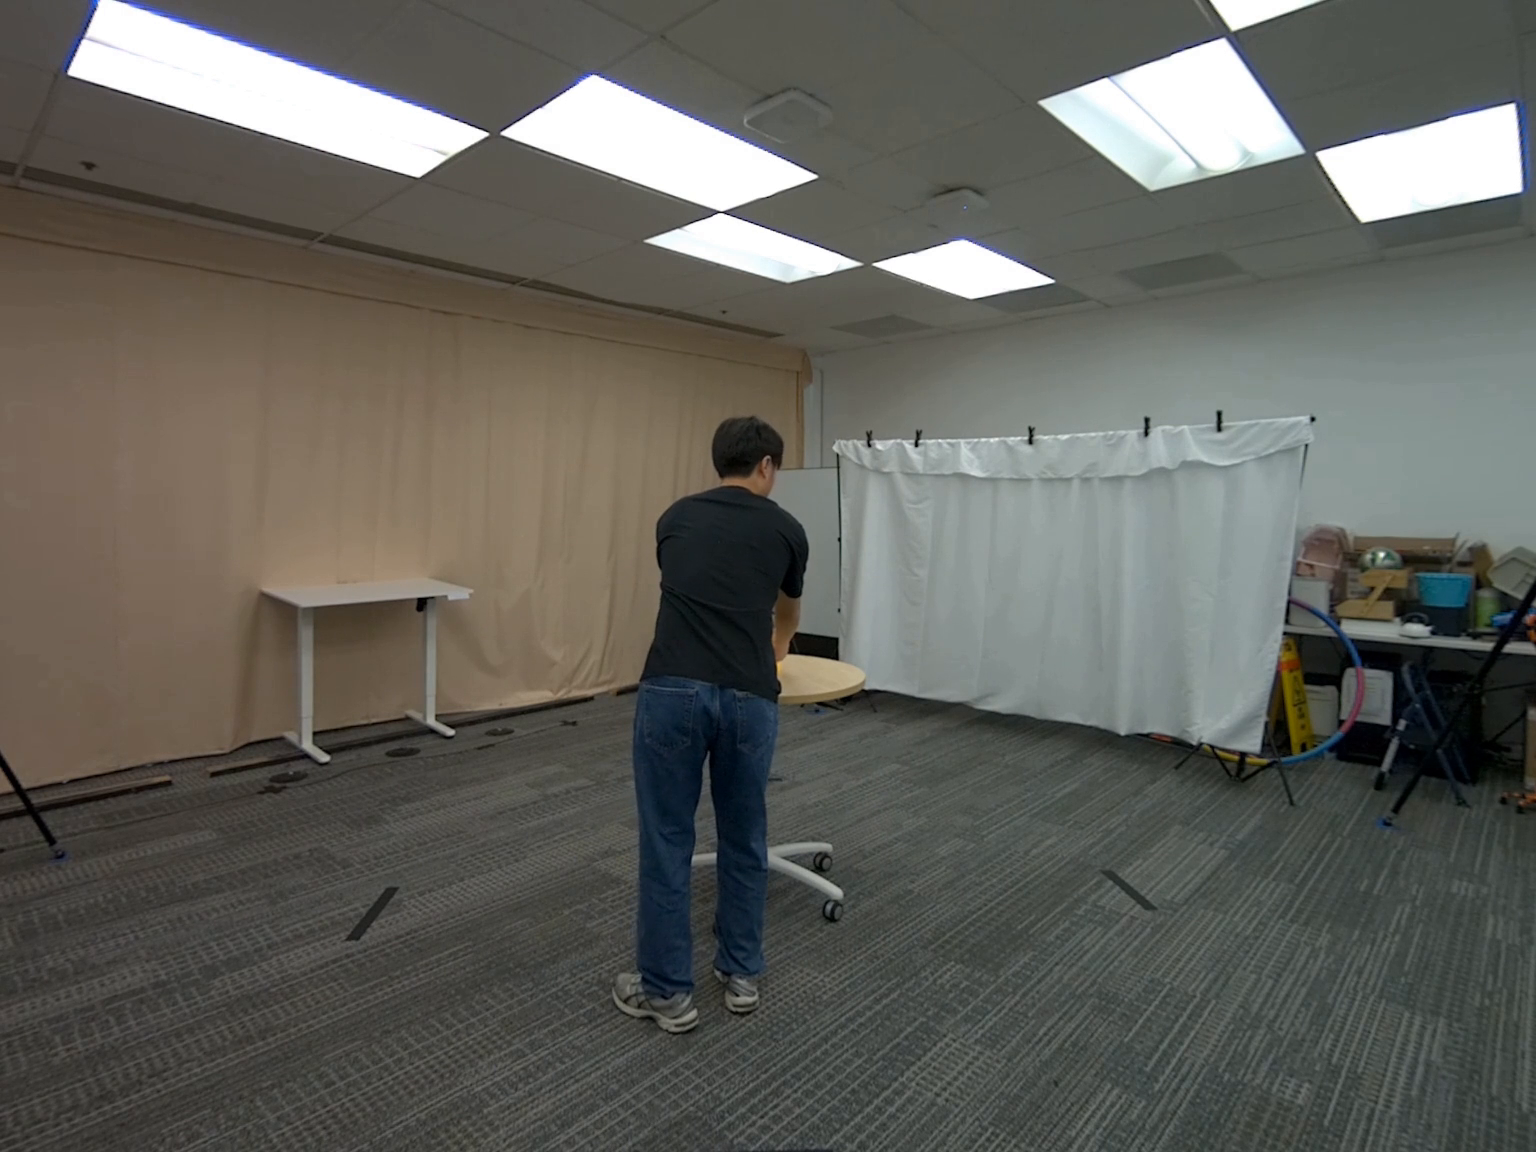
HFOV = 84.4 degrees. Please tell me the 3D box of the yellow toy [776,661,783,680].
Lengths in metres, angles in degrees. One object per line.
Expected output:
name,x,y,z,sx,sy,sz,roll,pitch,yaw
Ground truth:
yellow toy,-0.052,0.226,3.039,0.206,0.230,0.192,0,3,7
